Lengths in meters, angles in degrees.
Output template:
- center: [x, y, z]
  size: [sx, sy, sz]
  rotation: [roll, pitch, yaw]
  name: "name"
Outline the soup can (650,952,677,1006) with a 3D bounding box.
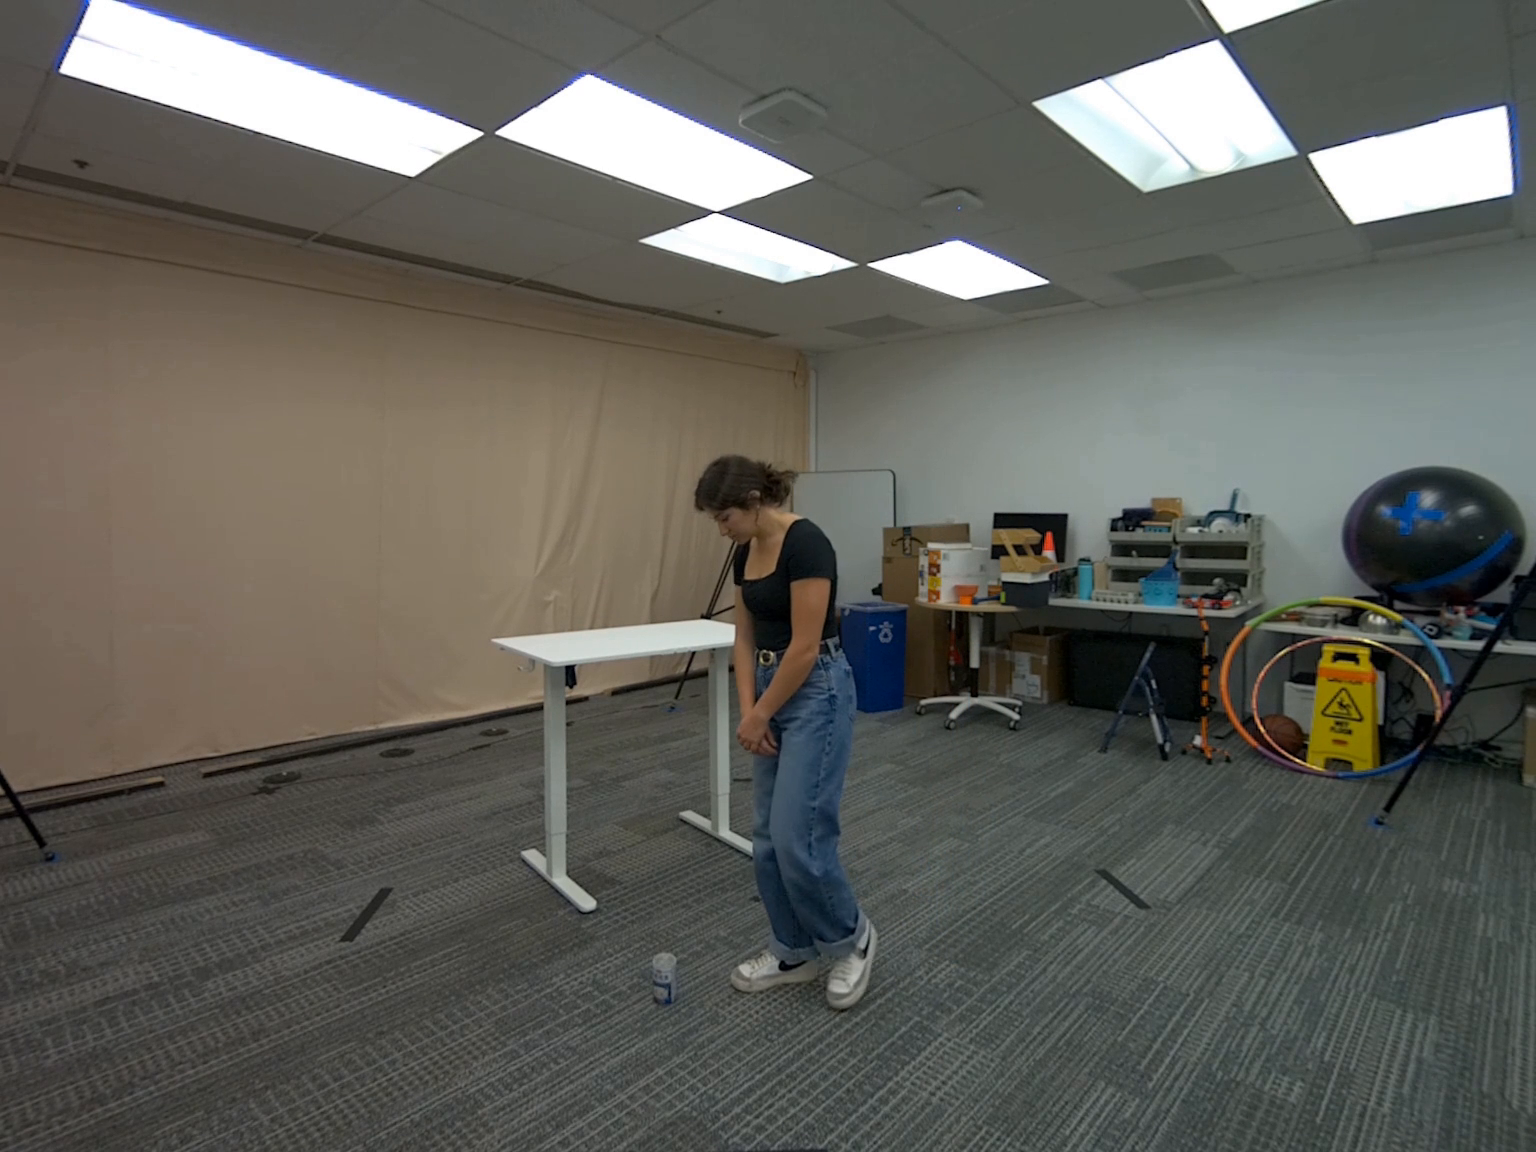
- center: [-0.293, 1.131, 2.383]
  size: [0.067, 0.121, 0.067]
  rotation: [-3, 3, -2]
  name: "soup can"
